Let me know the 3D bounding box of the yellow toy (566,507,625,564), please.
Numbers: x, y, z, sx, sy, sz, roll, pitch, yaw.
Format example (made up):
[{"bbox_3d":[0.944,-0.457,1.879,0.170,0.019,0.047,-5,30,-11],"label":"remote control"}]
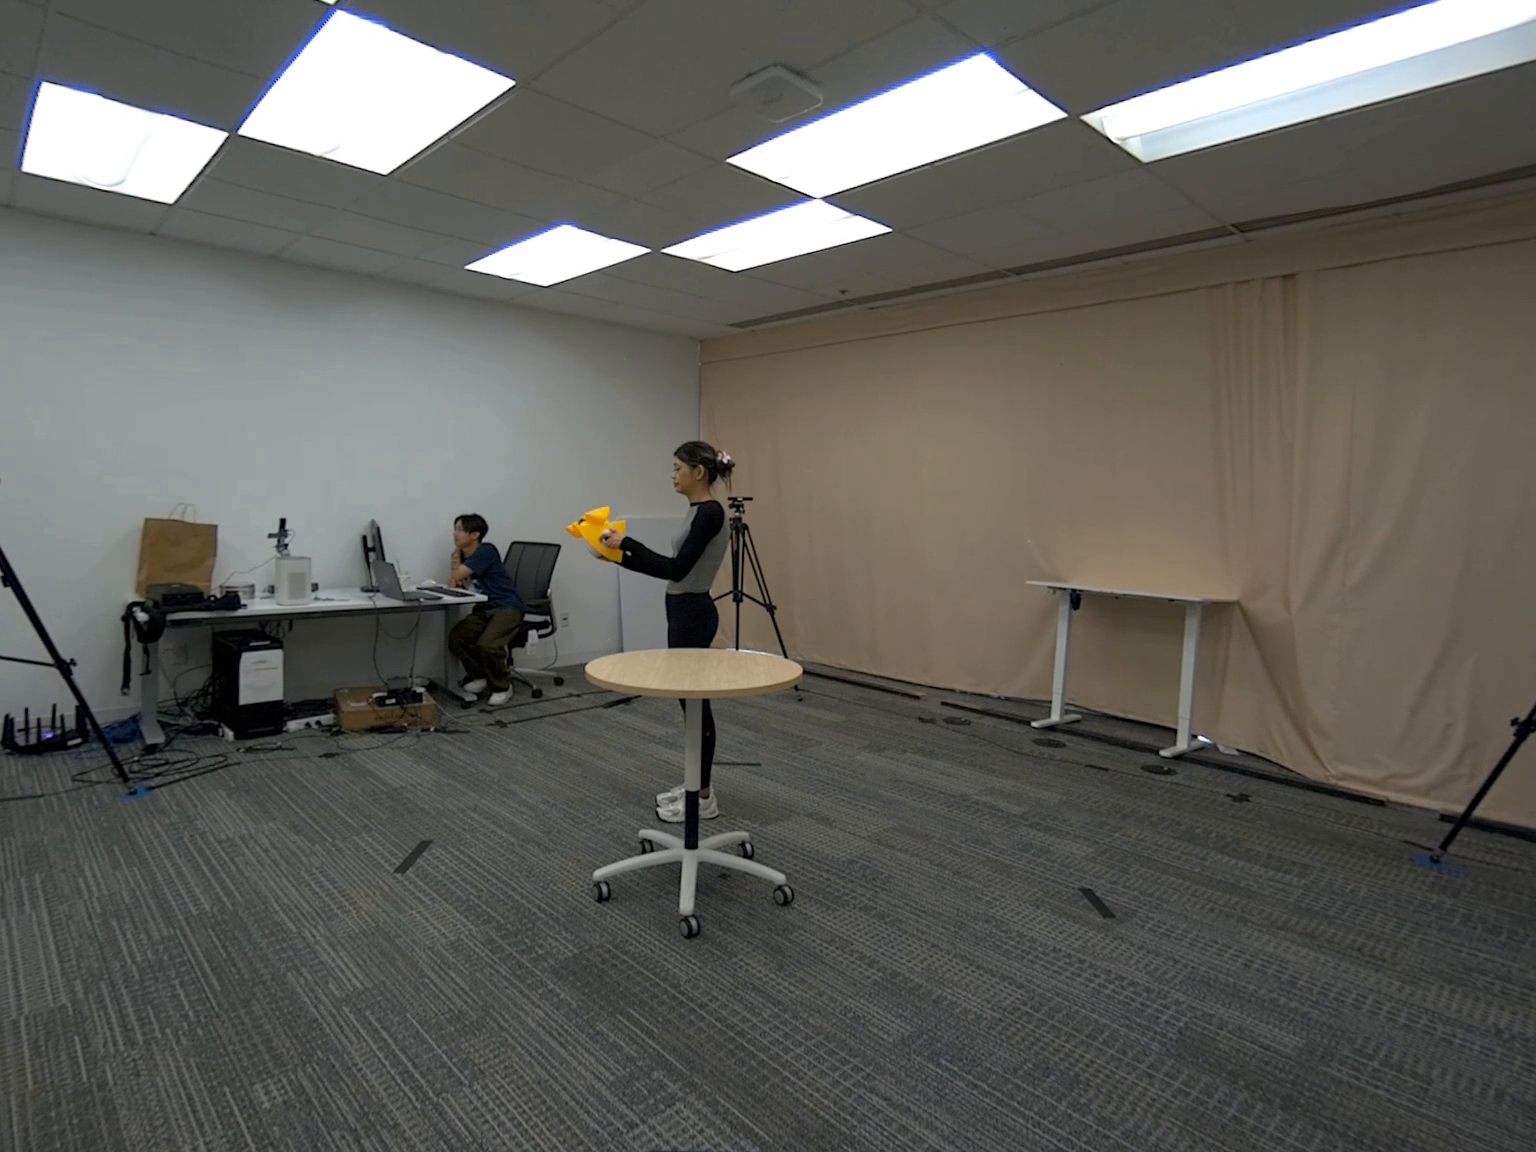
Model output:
[{"bbox_3d":[-0.724,-0.146,3.623,0.207,0.232,0.190,-28,-5,33],"label":"yellow toy"}]
